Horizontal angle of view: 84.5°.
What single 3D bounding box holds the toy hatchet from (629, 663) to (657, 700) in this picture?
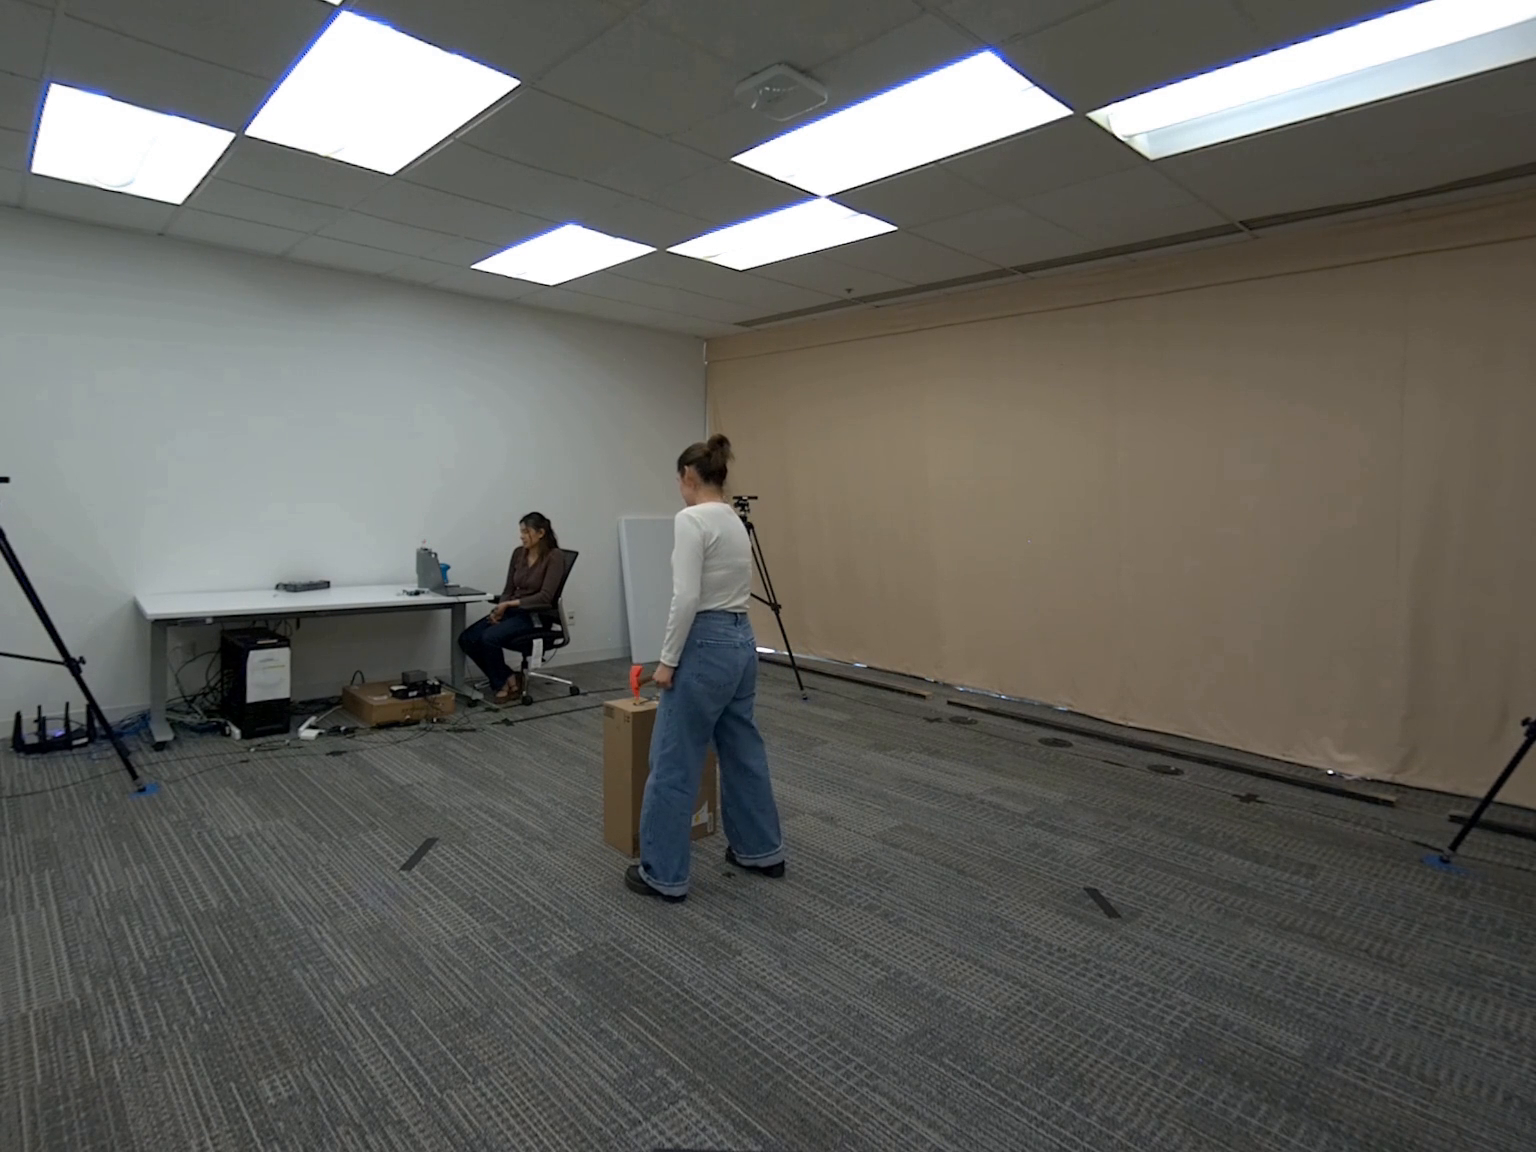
[{"bbox_3d":[-0.479,0.370,3.383,0.029,0.134,0.270,7,-41,-47],"label":"toy hatchet"}]
